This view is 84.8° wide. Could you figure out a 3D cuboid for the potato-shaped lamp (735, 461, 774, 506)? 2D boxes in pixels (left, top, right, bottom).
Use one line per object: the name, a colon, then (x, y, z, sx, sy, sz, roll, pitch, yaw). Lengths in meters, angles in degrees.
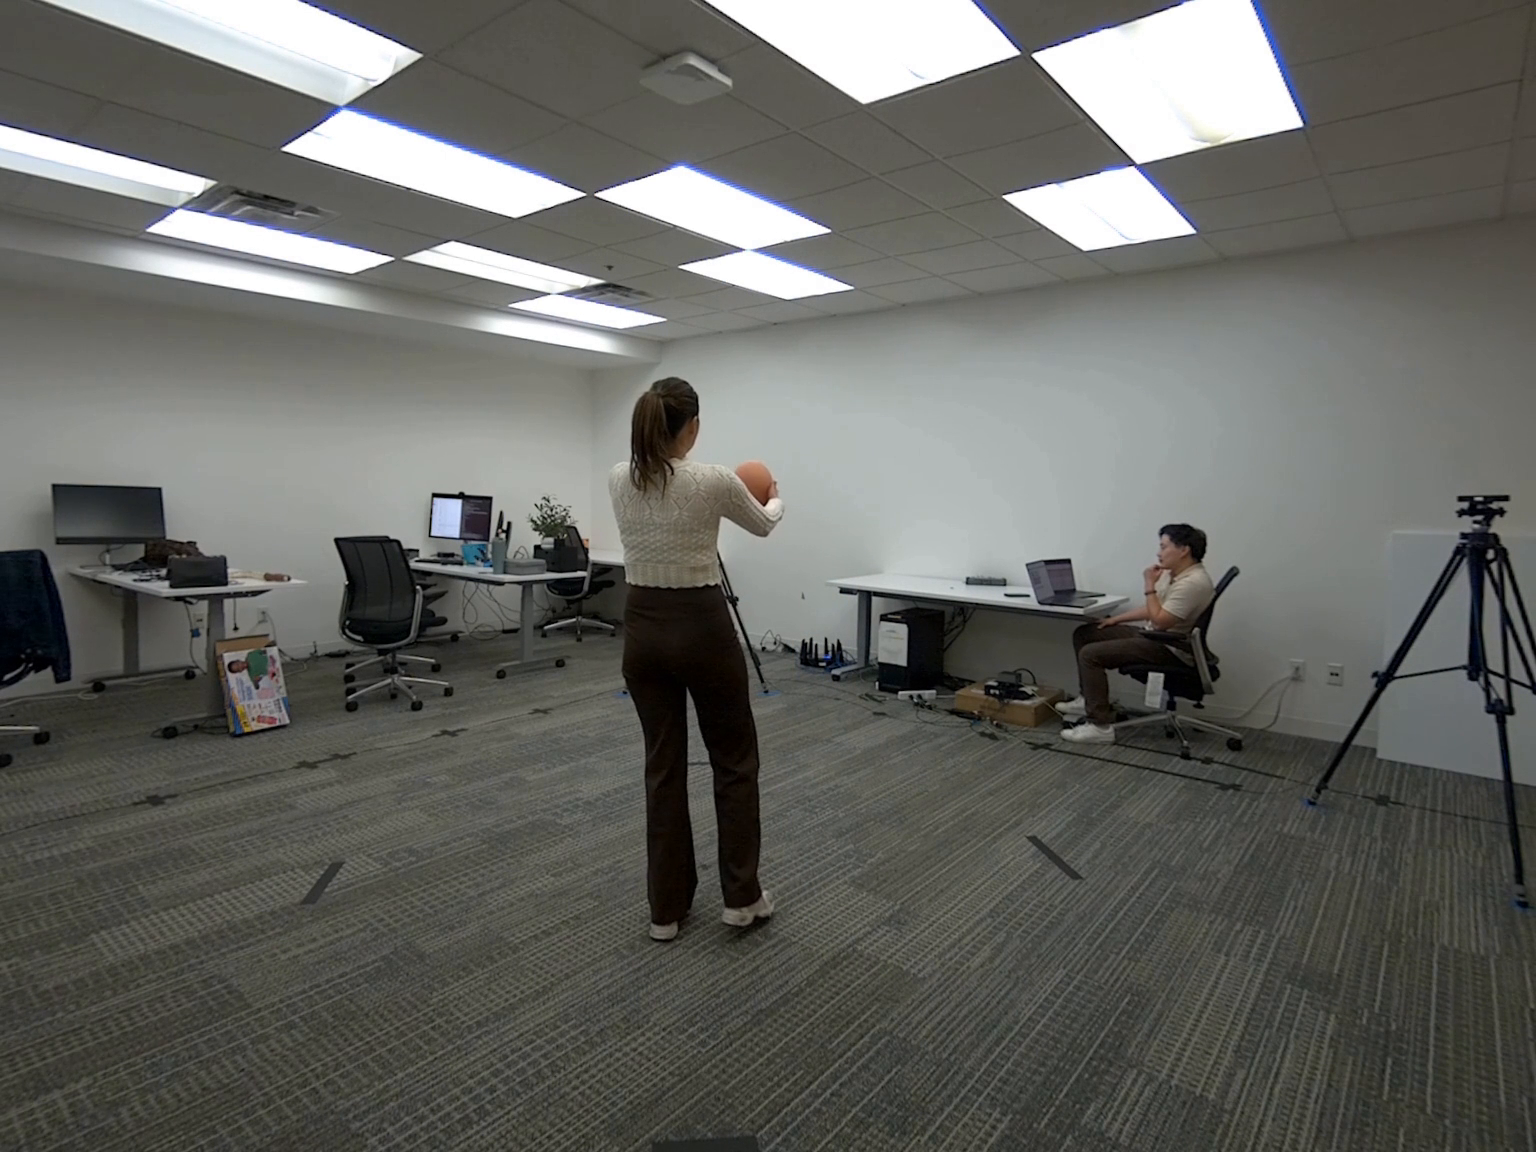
potato-shaped lamp: (-0.074, -0.334, 3.156, 0.175, 0.193, 0.165, 14, 34, 17)
